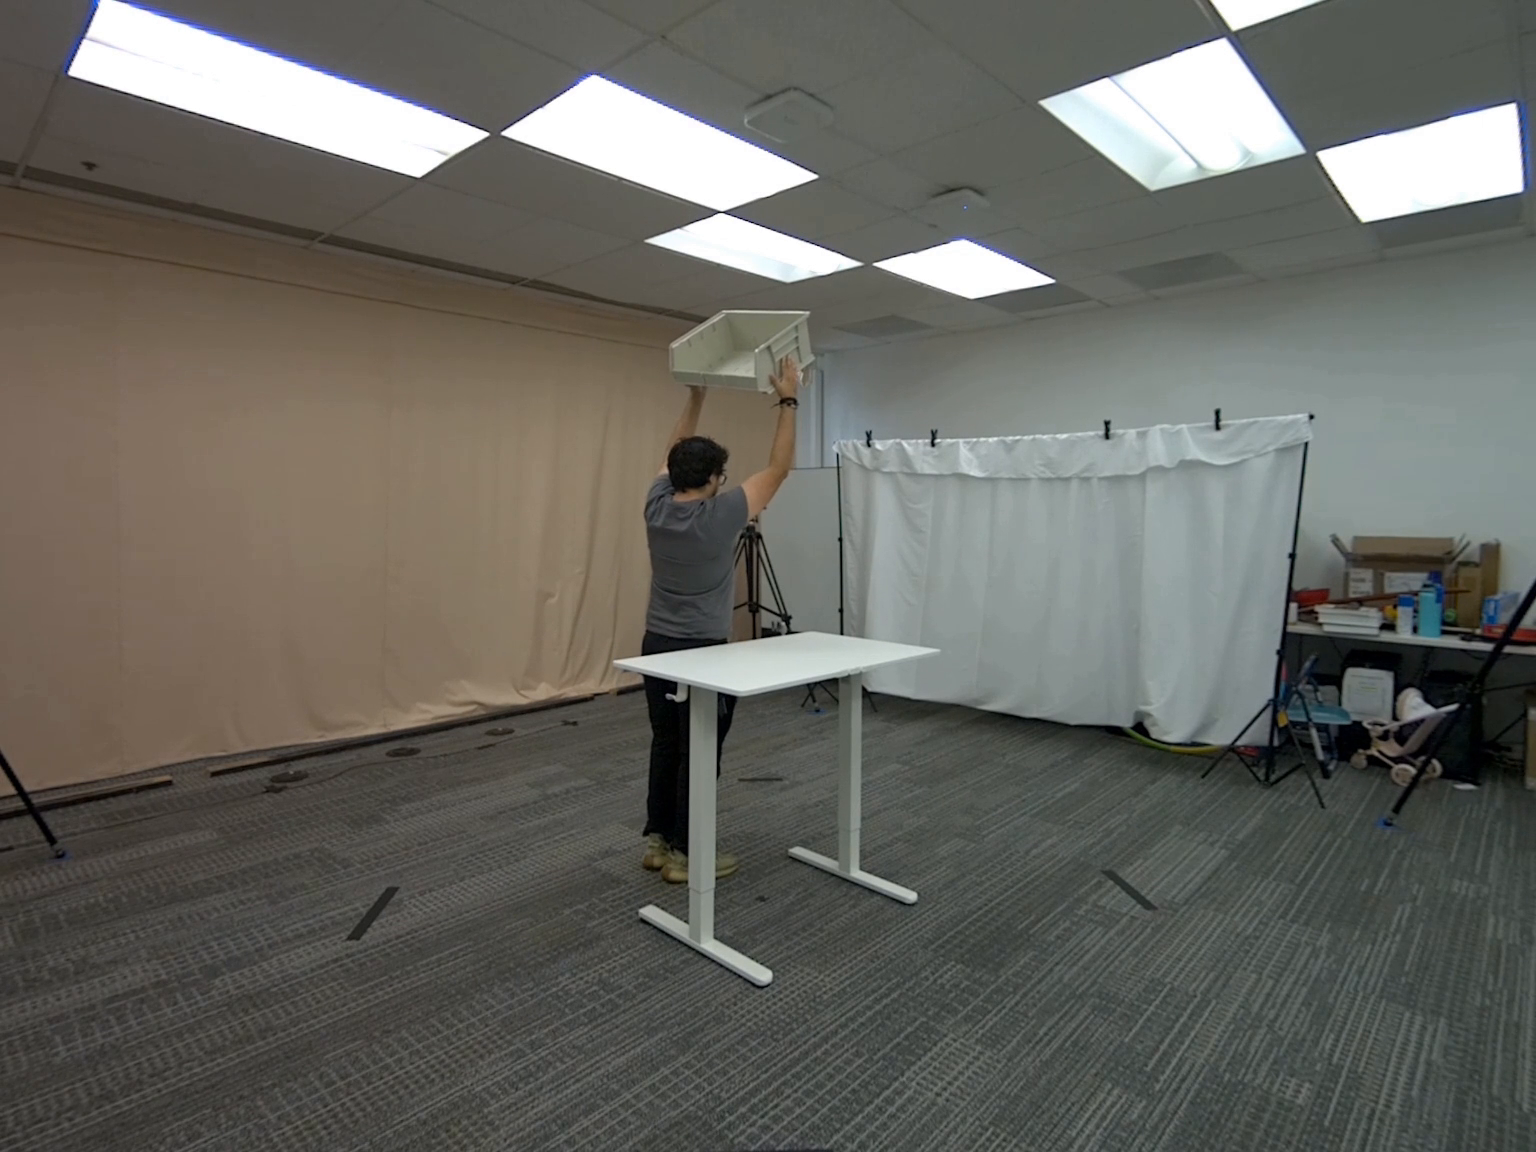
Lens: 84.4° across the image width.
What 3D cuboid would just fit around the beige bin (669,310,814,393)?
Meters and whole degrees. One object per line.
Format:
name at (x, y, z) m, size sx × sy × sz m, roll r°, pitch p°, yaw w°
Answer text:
beige bin at (-0.095, -0.839, 3.184) m, size 0.437 × 0.184 × 0.373 m, roll 13°, pitch 42°, yaw 36°
